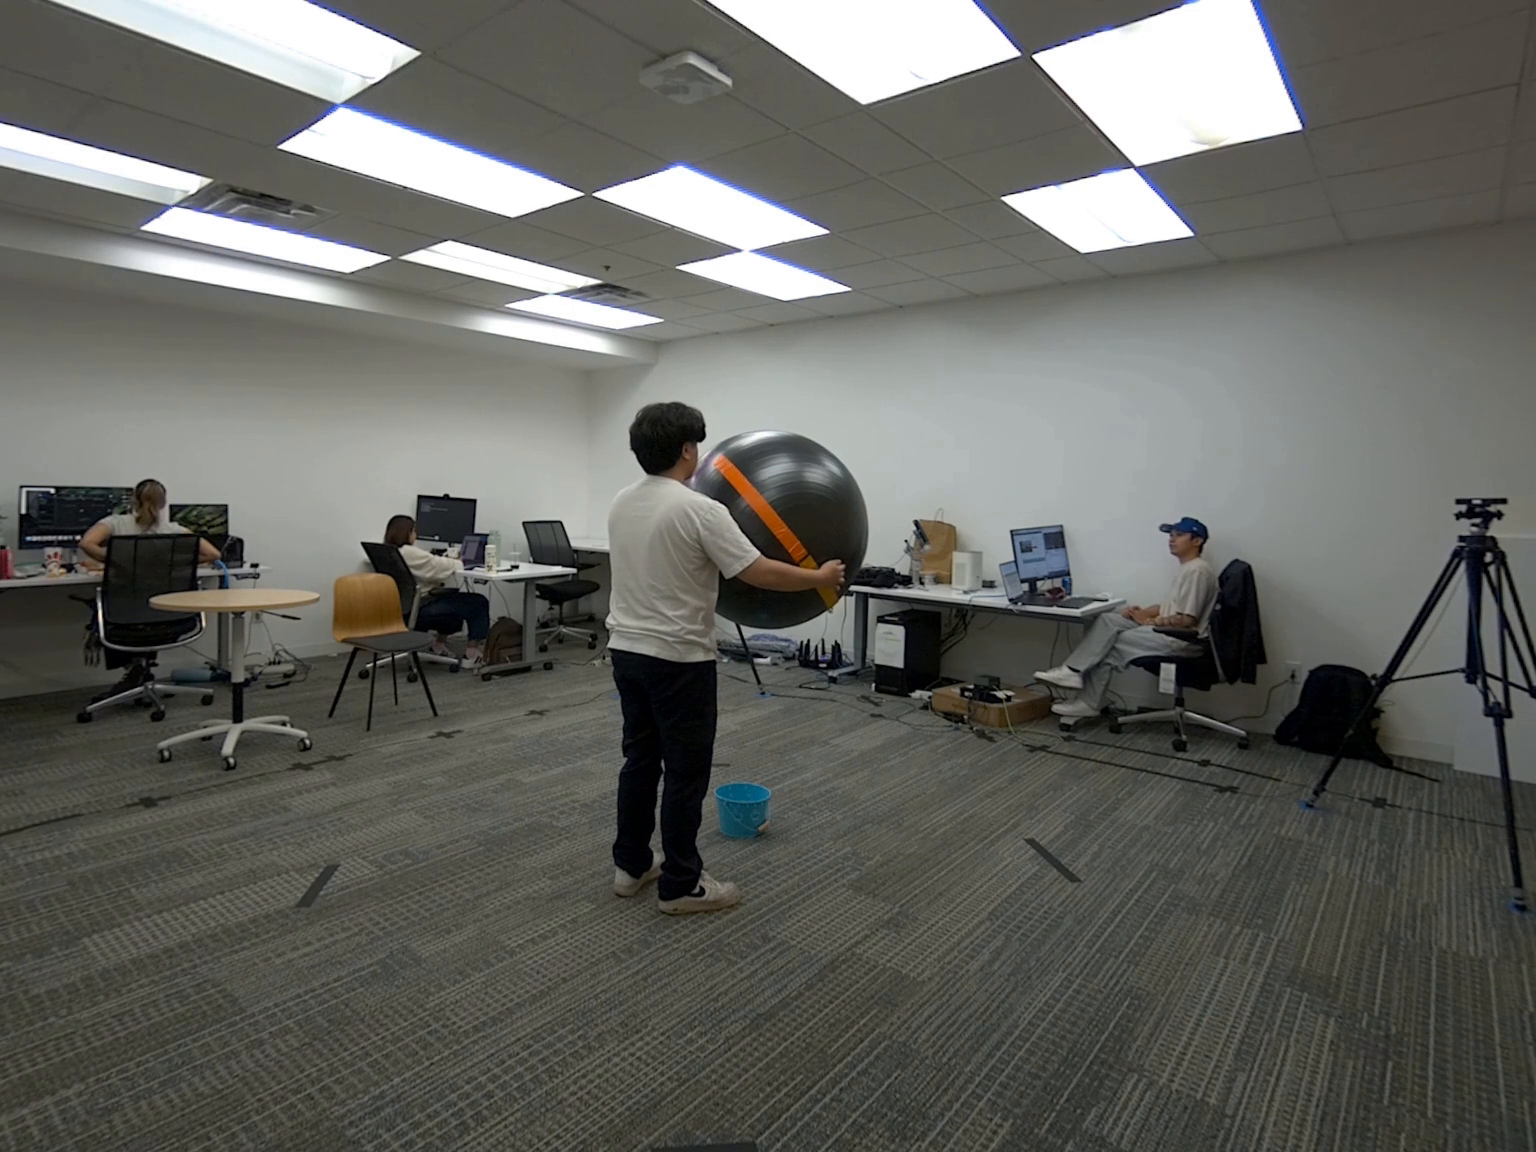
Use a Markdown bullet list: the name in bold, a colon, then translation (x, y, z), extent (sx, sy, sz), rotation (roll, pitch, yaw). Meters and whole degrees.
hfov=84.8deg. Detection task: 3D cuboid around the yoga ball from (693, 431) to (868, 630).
- **yoga ball**: translation (0.001, -0.175, 3.278), extent (0.757, 0.755, 0.762), rotation (1, 4, -2)
